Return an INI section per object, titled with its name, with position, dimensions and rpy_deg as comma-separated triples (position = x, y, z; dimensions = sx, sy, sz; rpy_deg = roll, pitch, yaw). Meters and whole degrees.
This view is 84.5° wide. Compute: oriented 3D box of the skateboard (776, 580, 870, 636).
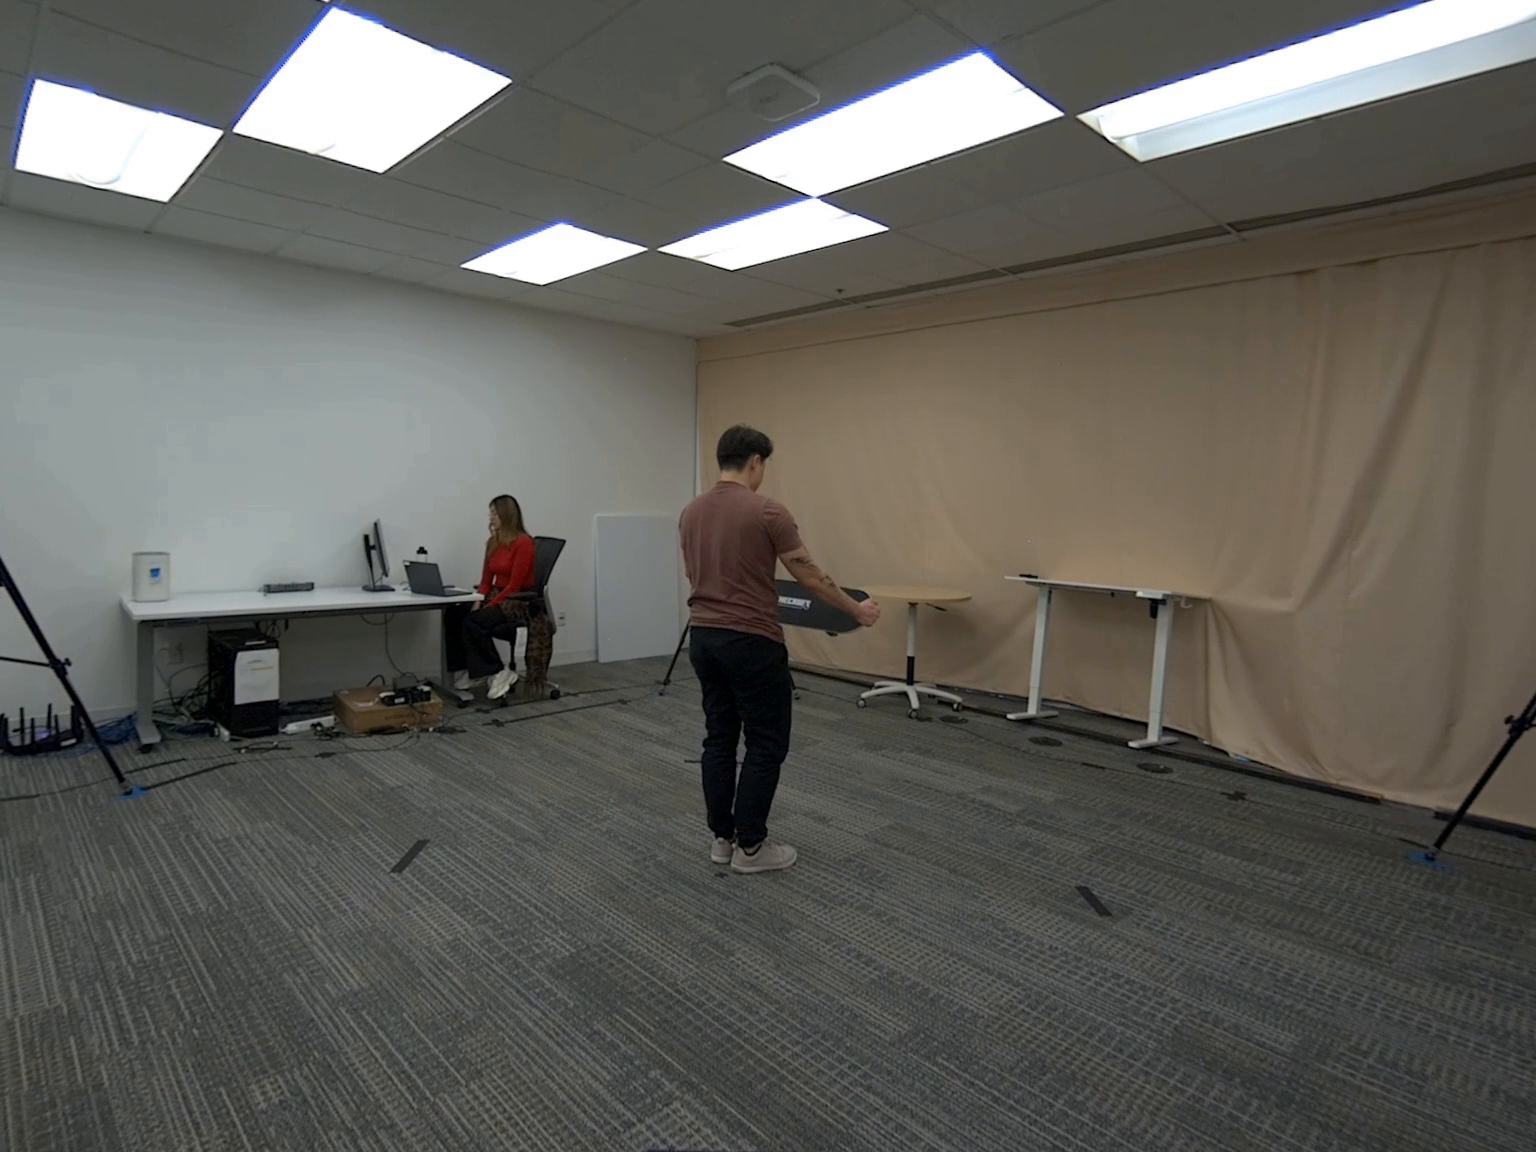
[skateboard]
position = 0.096, 0.126, 3.515
dimensions = 0.806, 0.195, 0.107
rpy_deg = 8, -24, 39
